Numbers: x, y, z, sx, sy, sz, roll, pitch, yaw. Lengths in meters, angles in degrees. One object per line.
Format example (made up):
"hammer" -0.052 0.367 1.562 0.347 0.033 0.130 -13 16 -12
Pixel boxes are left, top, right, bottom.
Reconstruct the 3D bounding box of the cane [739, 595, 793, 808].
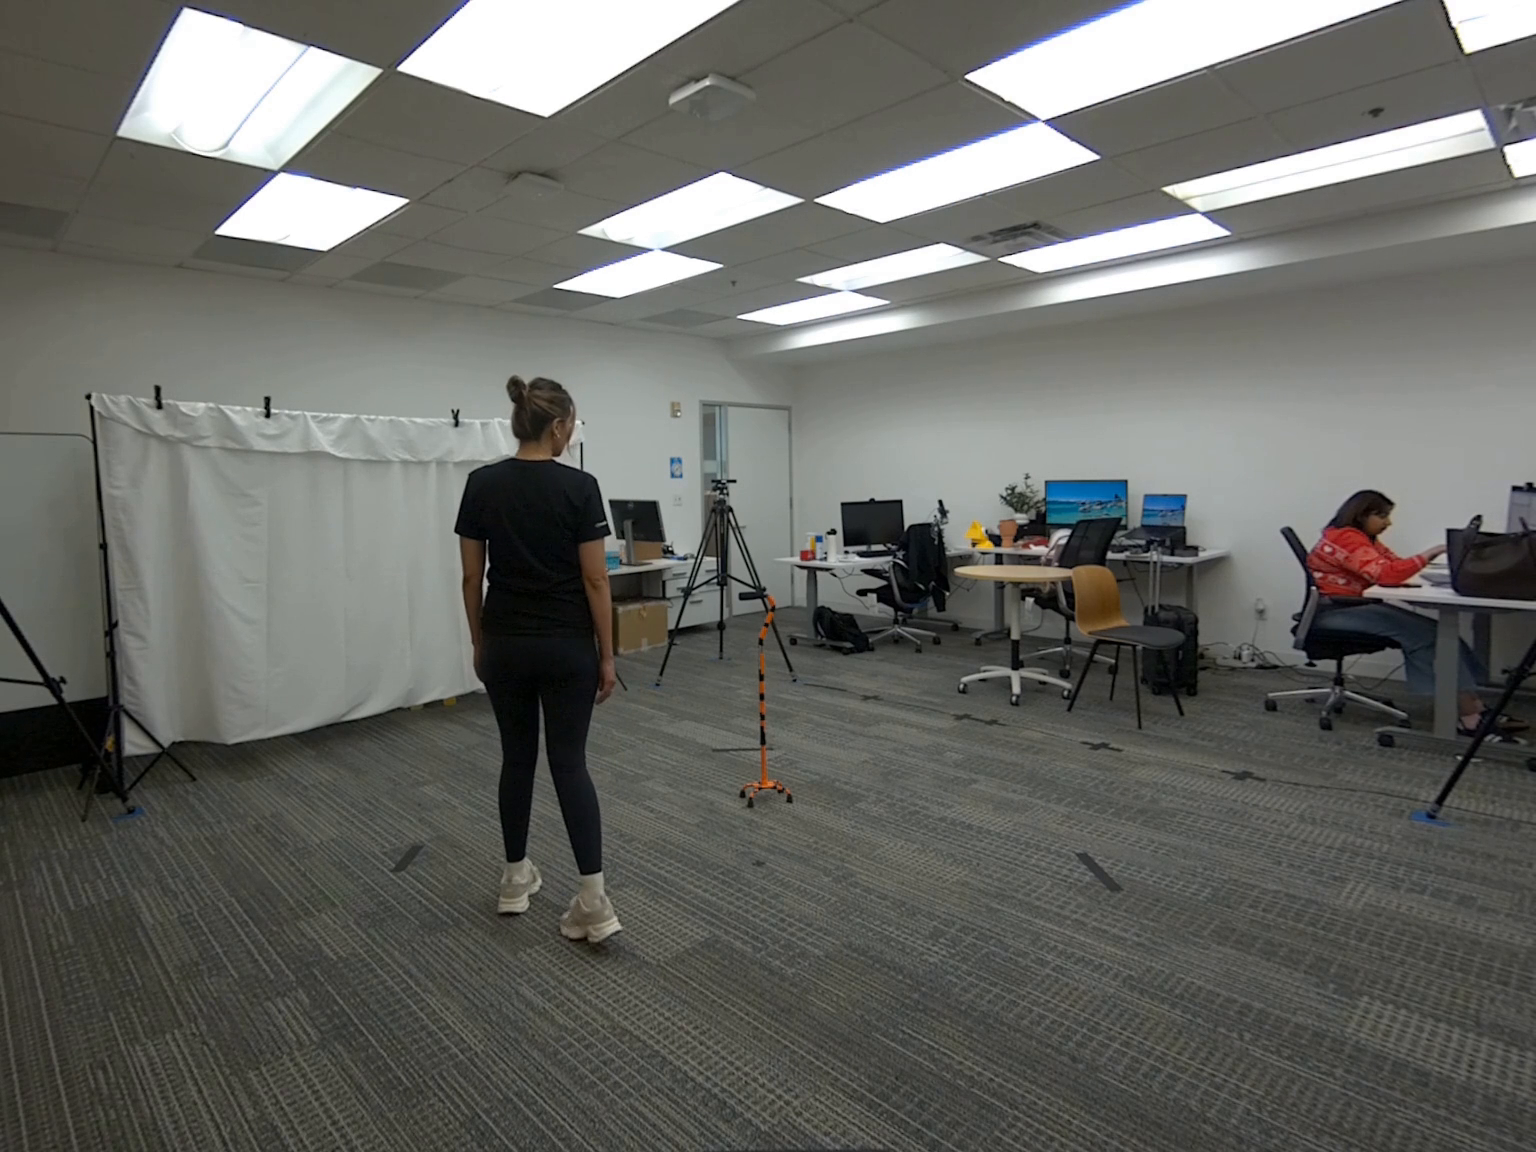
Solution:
"cane" -0.021 0.525 3.711 0.204 0.905 0.154 -2 3 -15
